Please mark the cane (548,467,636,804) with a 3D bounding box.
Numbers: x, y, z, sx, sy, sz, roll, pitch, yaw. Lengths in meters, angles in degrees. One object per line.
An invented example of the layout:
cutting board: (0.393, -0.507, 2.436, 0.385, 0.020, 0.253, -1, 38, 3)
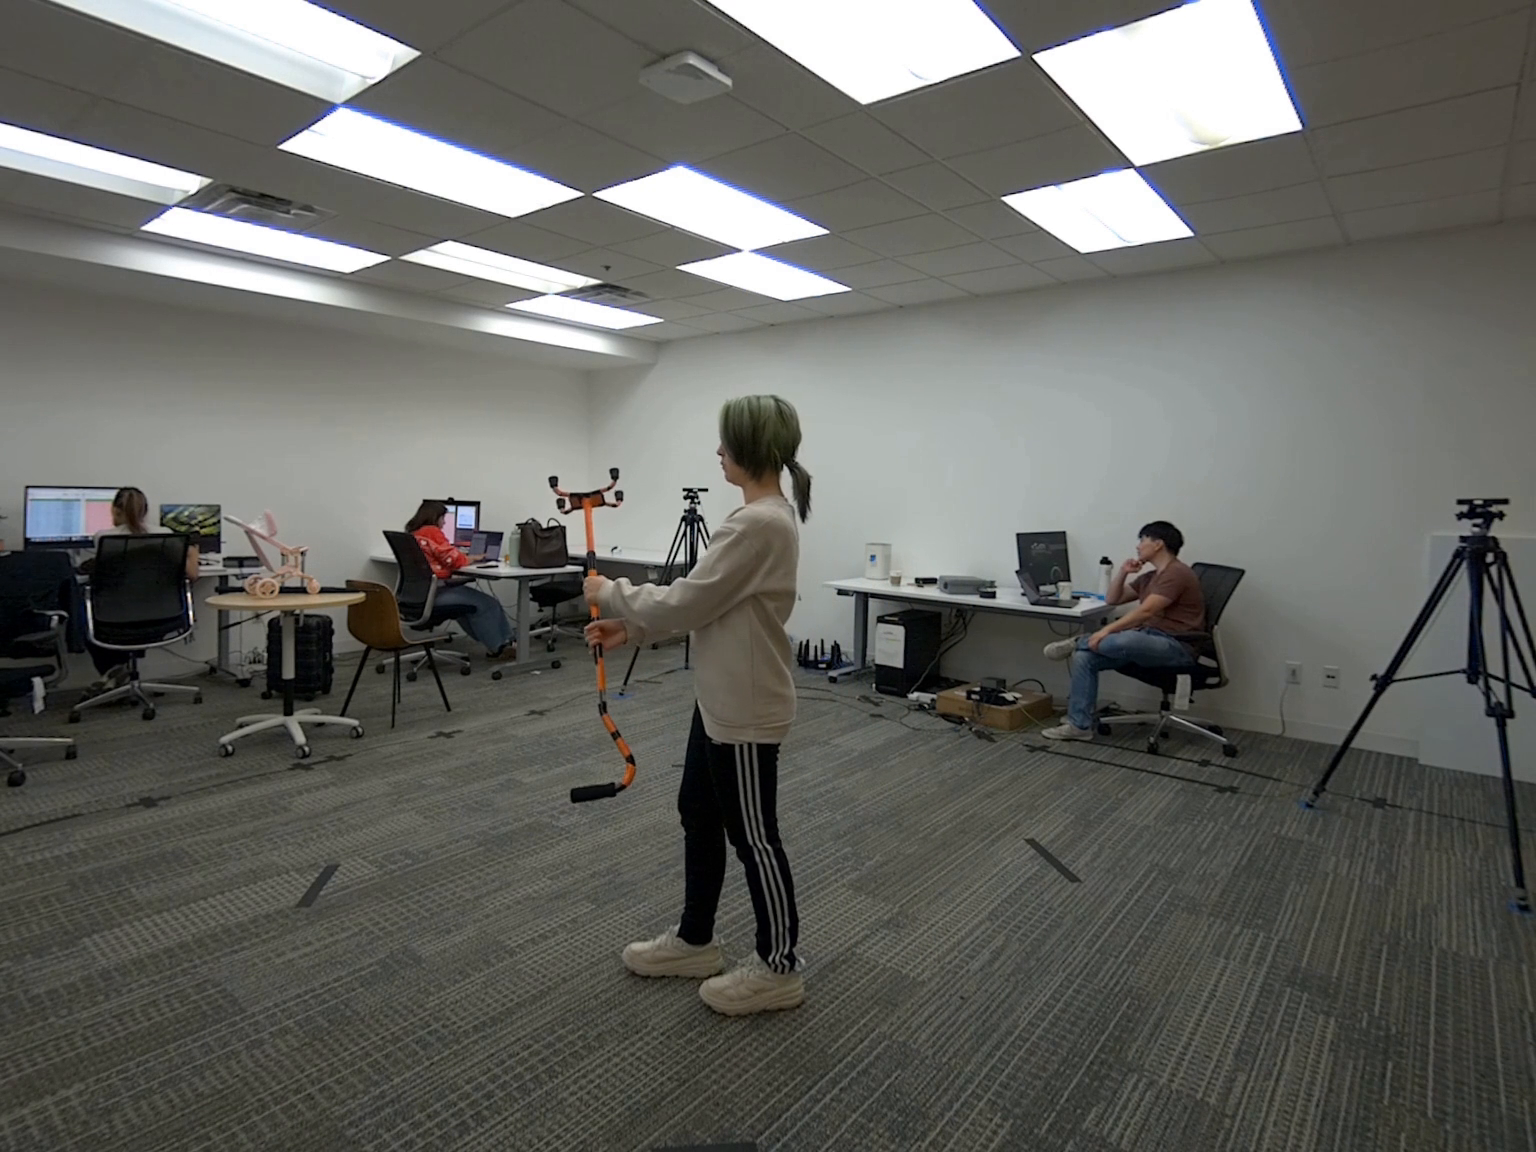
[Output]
cane: (-0.471, 0.140, 2.290, 0.205, 0.933, 0.148, -9, -27, -5)
